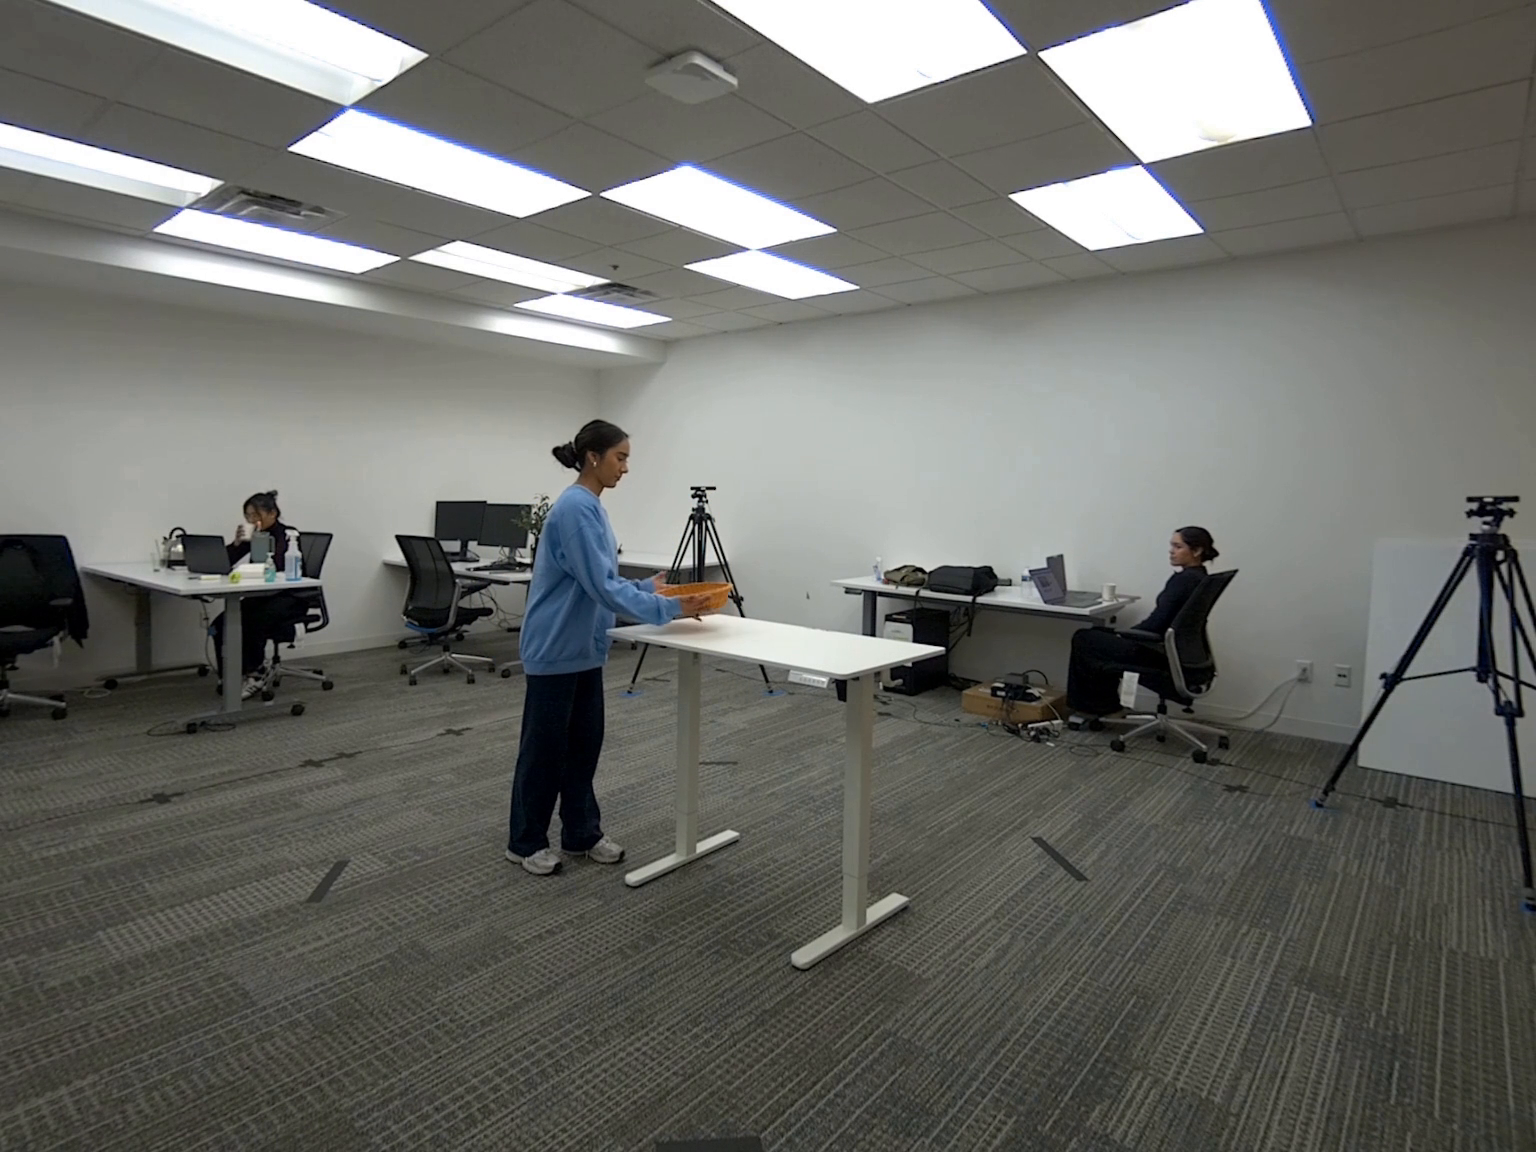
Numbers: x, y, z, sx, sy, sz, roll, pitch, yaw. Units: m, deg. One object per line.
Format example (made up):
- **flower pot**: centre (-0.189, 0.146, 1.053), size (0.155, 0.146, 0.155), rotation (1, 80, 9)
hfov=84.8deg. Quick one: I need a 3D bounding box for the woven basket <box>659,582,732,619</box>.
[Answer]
- **woven basket**: centre (-0.301, 0.086, 3.065), size (0.247, 0.073, 0.360), rotation (-12, 7, -30)
